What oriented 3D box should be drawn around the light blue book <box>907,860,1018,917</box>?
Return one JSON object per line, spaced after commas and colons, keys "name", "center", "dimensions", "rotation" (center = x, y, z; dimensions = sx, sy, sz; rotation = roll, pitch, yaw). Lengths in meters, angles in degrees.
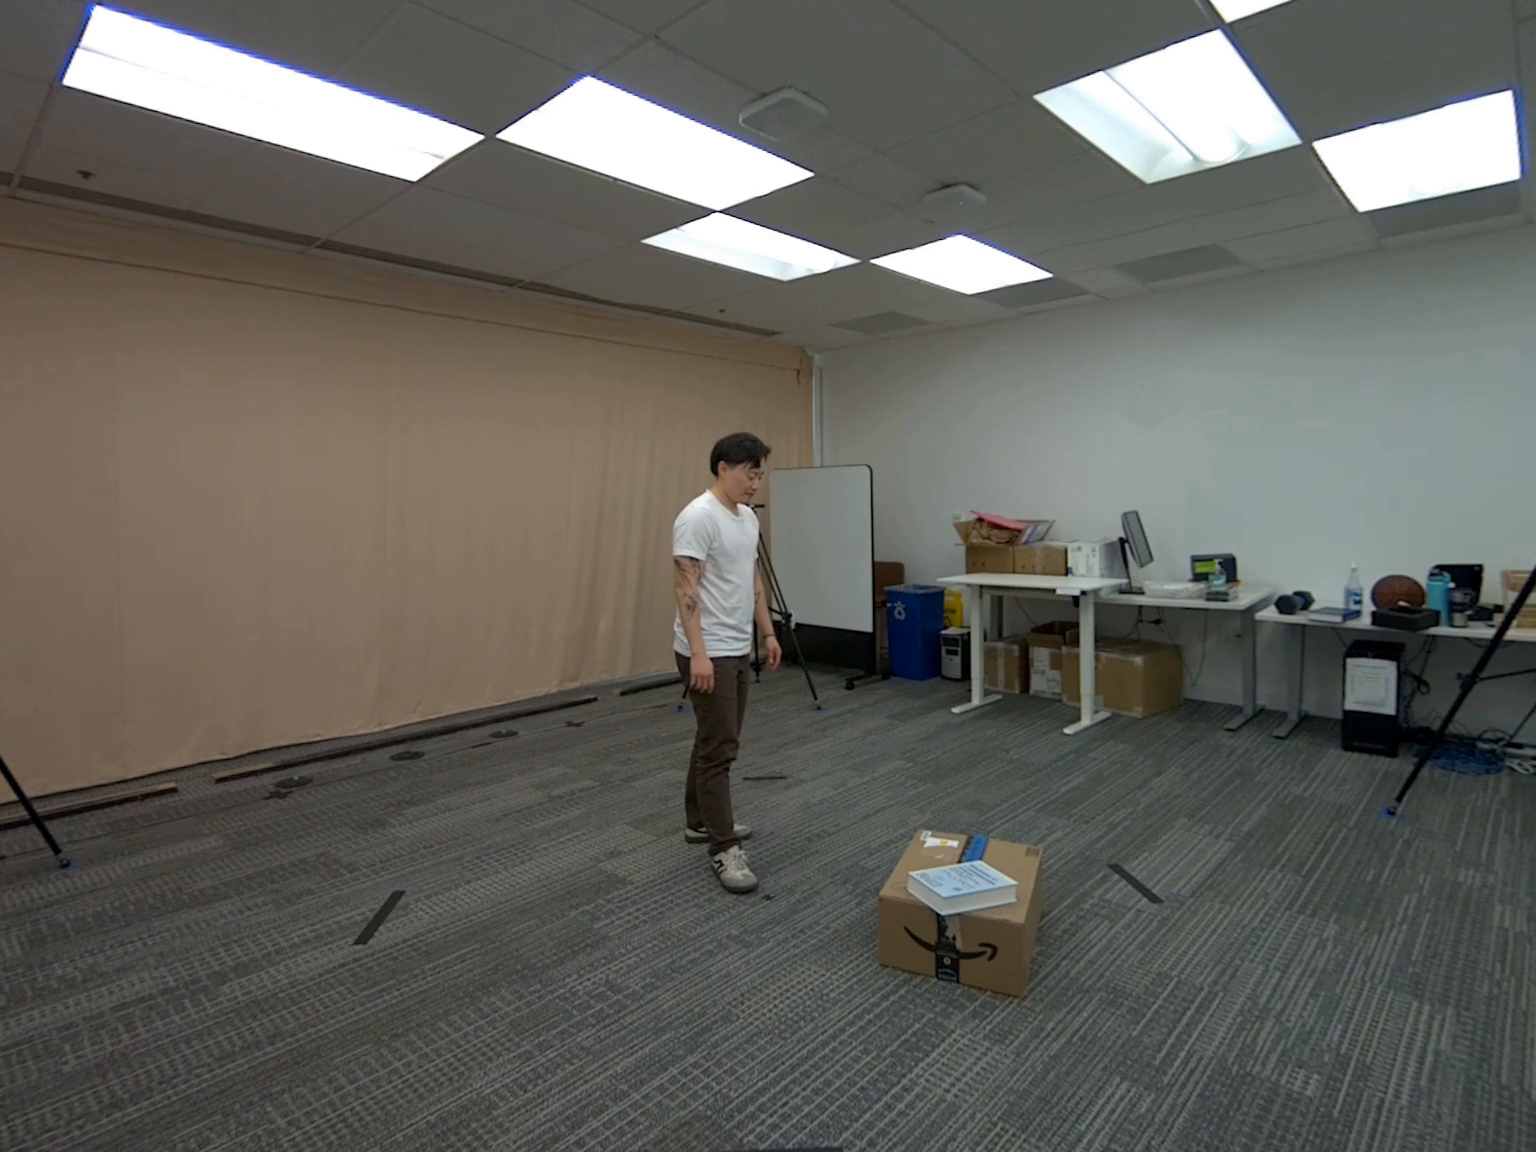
{"name": "light blue book", "center": [0.587, 0.930, 2.514], "dimensions": [0.255, 0.059, 0.196], "rotation": [-2, 4, -22]}
